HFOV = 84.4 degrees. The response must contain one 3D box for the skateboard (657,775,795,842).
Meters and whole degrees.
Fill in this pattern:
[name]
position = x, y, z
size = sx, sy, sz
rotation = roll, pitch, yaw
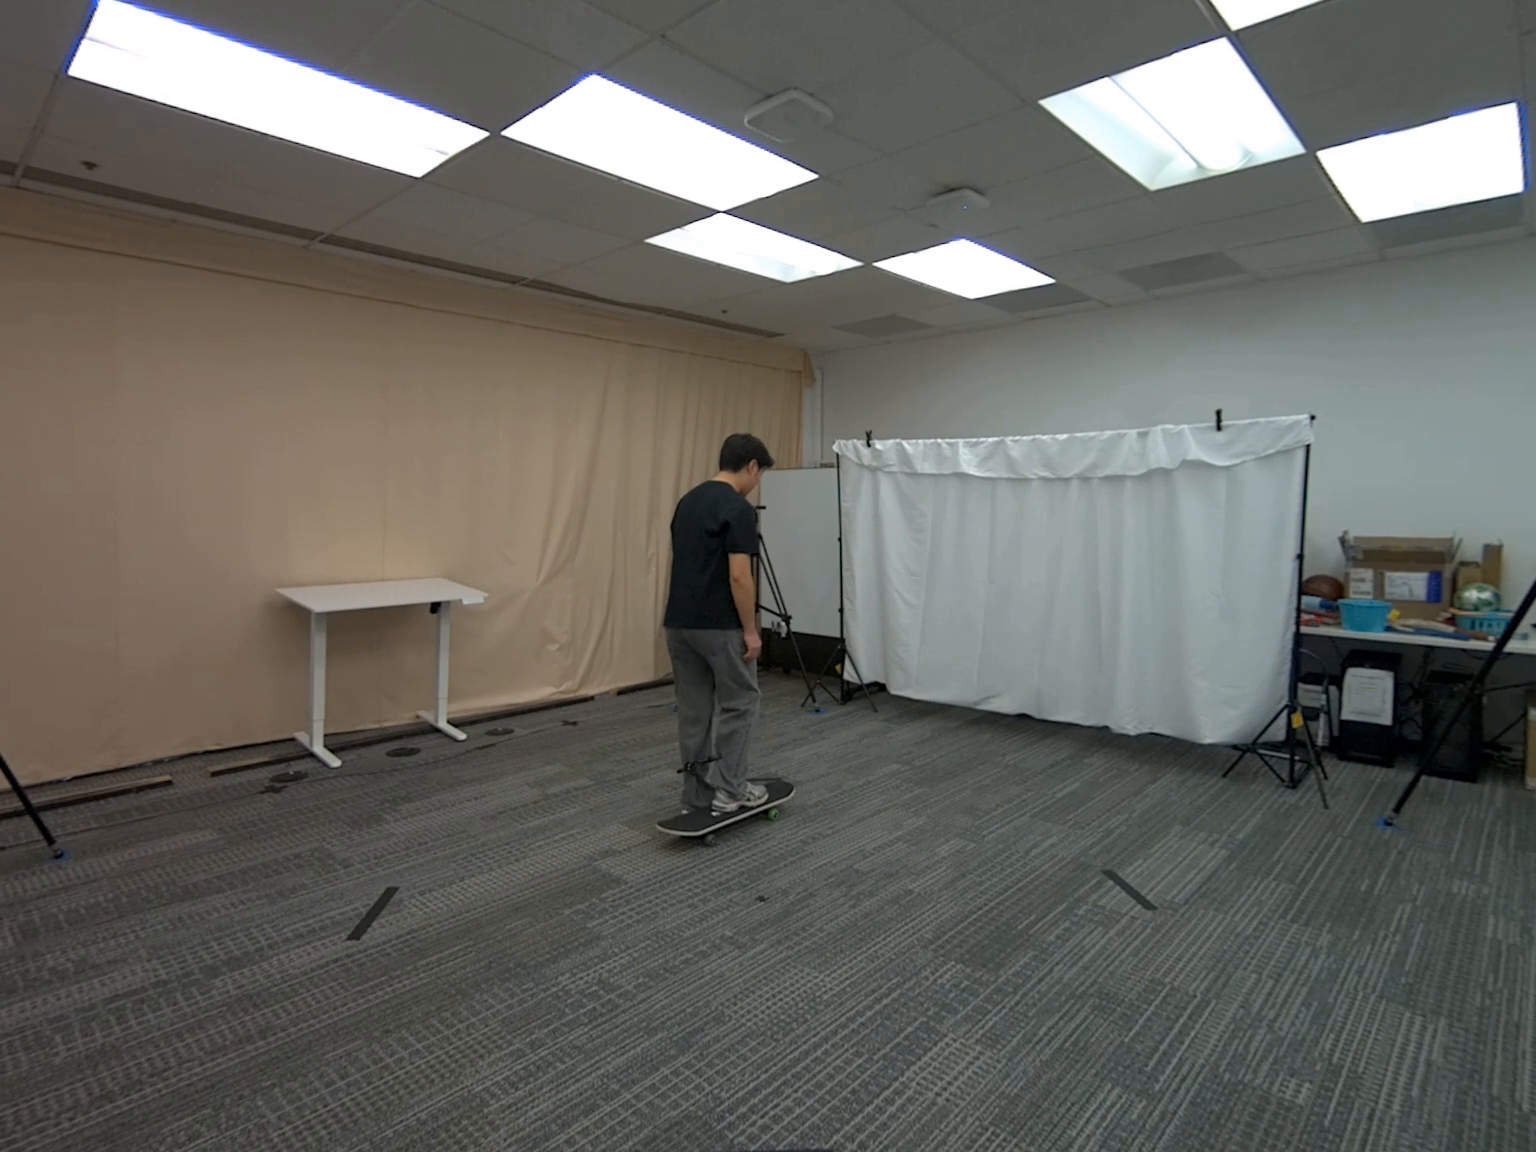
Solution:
[skateboard]
position = -0.166, 1.045, 3.635
size = 0.200, 0.110, 0.761
rotation = 3, 6, 42
